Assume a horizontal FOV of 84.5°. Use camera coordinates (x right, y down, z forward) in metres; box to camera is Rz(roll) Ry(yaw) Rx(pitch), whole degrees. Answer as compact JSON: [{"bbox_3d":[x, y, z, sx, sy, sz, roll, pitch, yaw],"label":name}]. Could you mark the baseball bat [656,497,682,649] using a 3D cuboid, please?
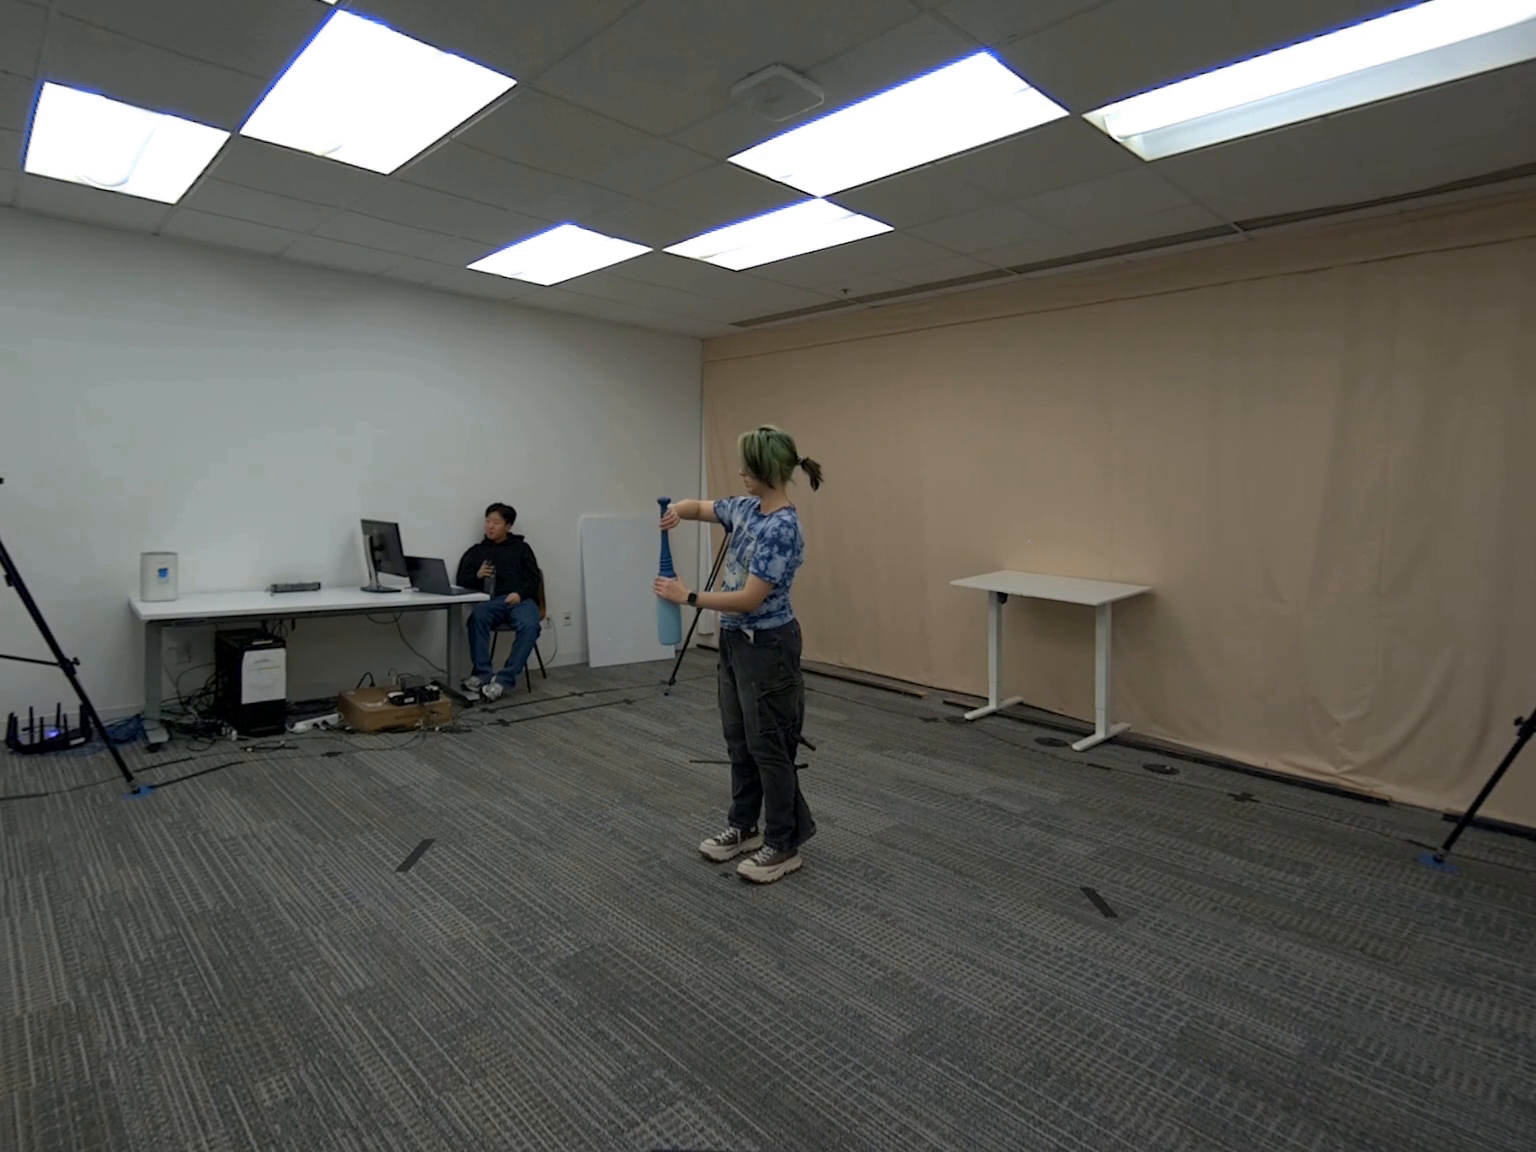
[{"bbox_3d":[-0.375,-0.018,3.080,0.089,0.541,0.089,-4,5,-1],"label":"baseball bat"}]
